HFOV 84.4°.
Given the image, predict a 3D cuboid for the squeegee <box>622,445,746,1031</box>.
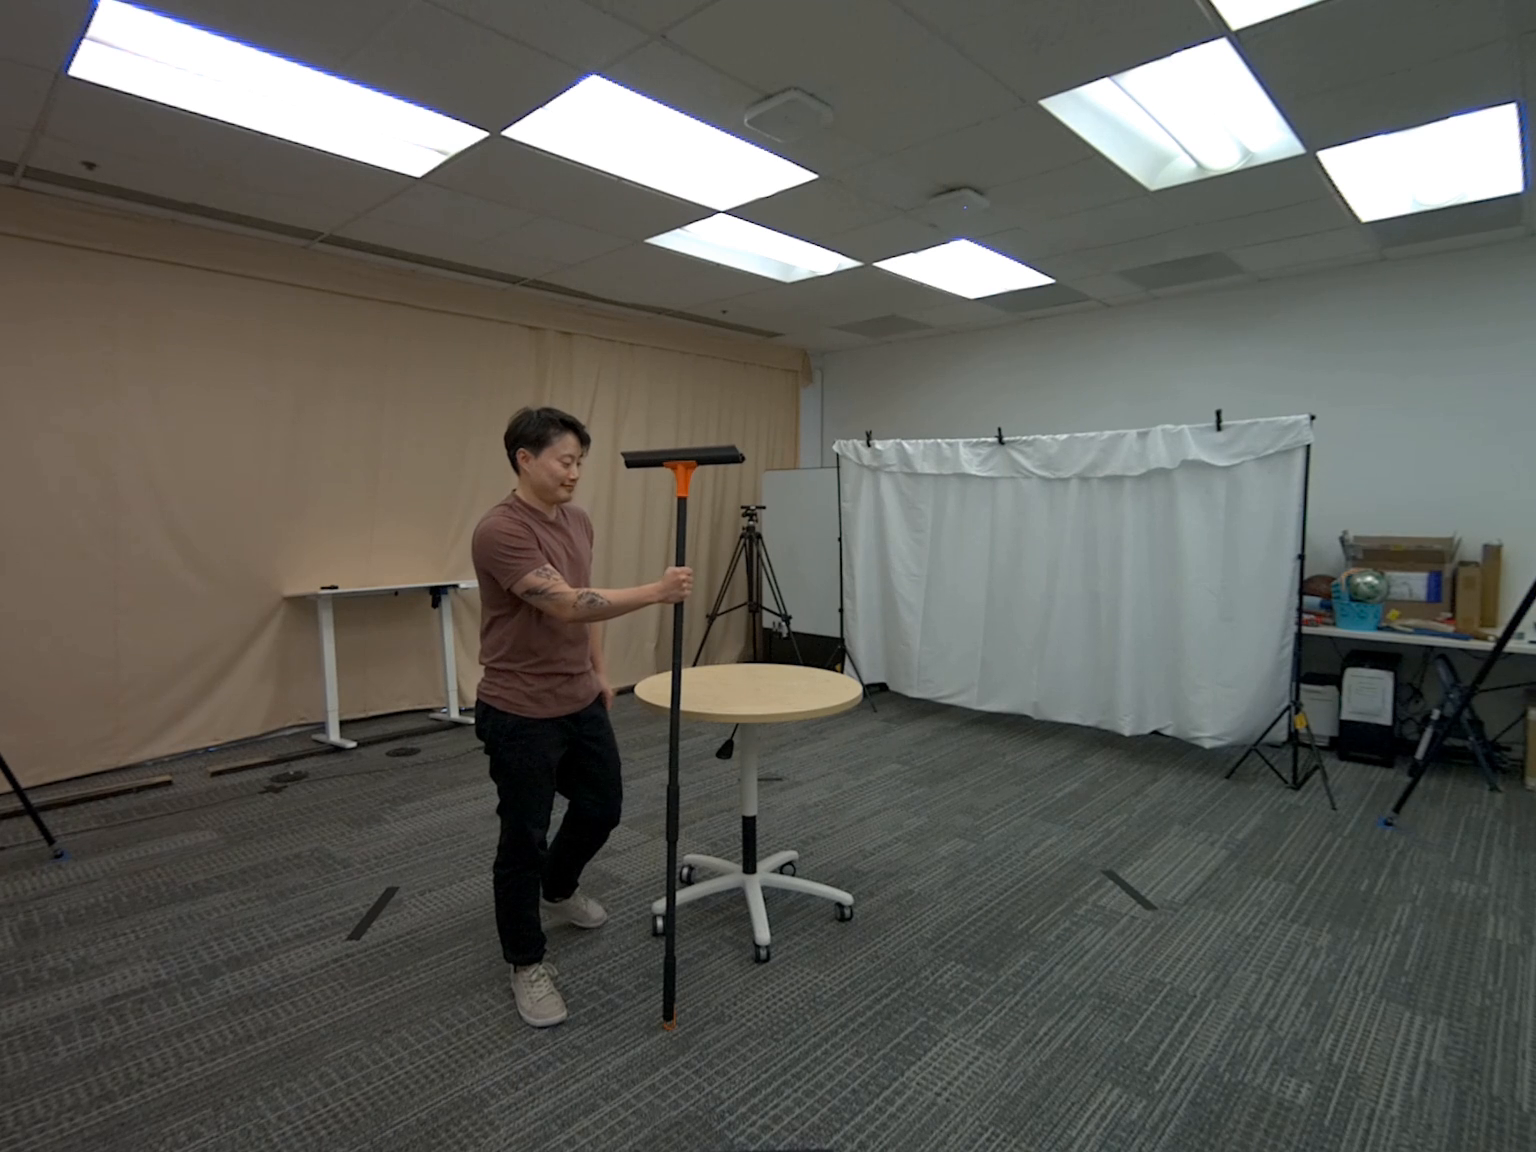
[{"bbox_3d":[-0.241,0.436,2.221,0.452,1.535,0.051,3,4,45],"label":"squeegee"}]
